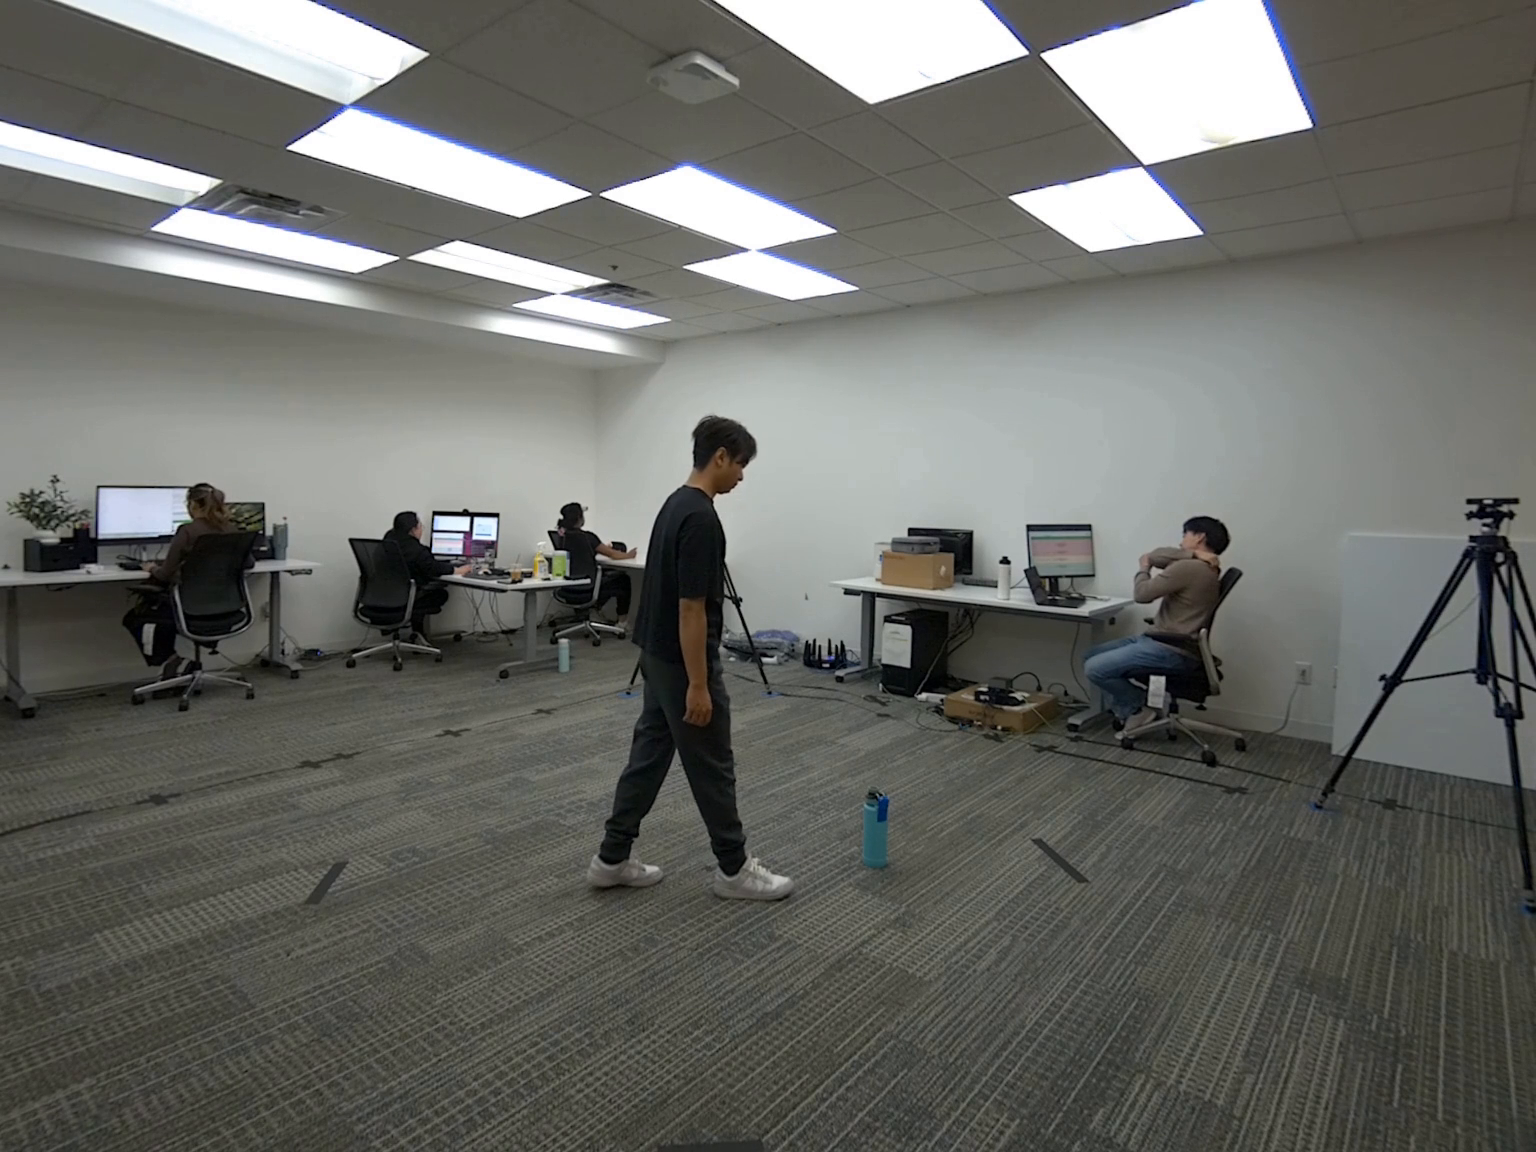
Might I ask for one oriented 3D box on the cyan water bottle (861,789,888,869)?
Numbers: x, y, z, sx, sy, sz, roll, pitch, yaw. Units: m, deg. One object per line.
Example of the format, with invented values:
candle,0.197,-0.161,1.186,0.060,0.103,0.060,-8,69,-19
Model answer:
cyan water bottle,0.394,0.931,3.182,0.092,0.282,0.093,0,4,-2
